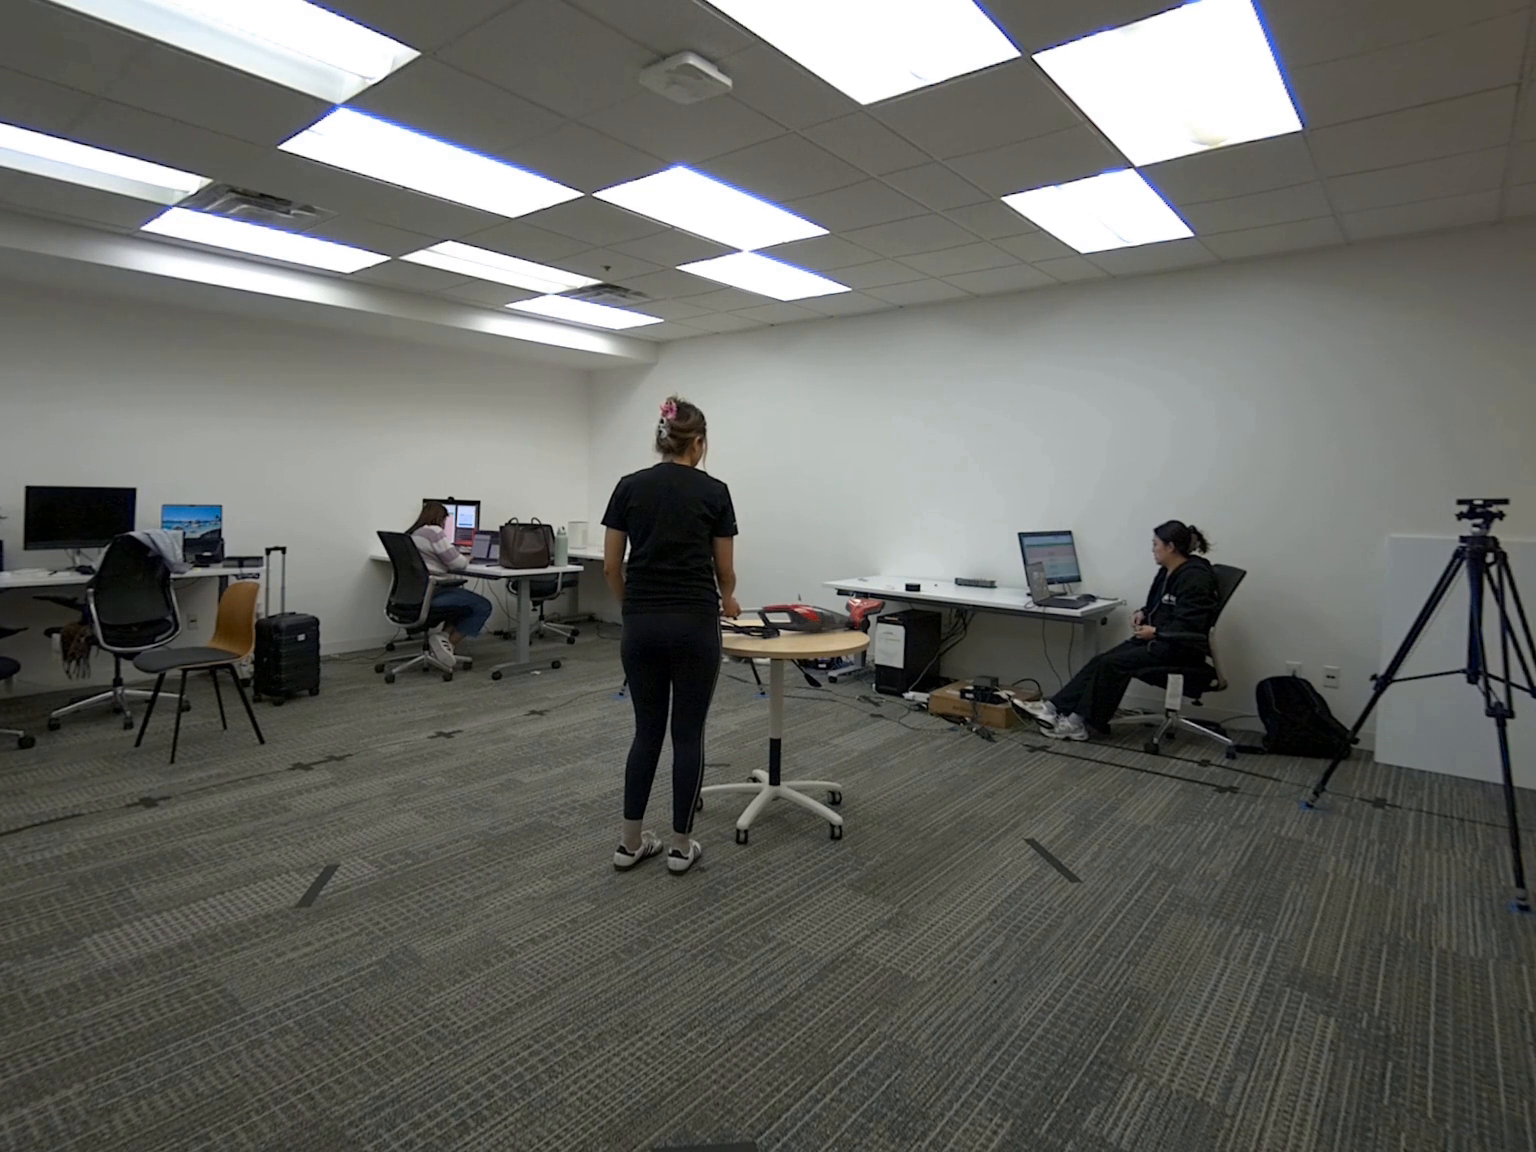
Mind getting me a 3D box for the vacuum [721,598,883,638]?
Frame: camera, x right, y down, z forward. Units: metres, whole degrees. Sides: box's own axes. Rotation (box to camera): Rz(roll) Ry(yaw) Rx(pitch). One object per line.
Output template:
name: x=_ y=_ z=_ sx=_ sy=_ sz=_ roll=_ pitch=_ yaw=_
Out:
vacuum: x=-0.030 y=0.196 z=3.541 sx=1.024 sy=0.144 sz=0.259 roll=-3 pitch=3 yaw=-27
